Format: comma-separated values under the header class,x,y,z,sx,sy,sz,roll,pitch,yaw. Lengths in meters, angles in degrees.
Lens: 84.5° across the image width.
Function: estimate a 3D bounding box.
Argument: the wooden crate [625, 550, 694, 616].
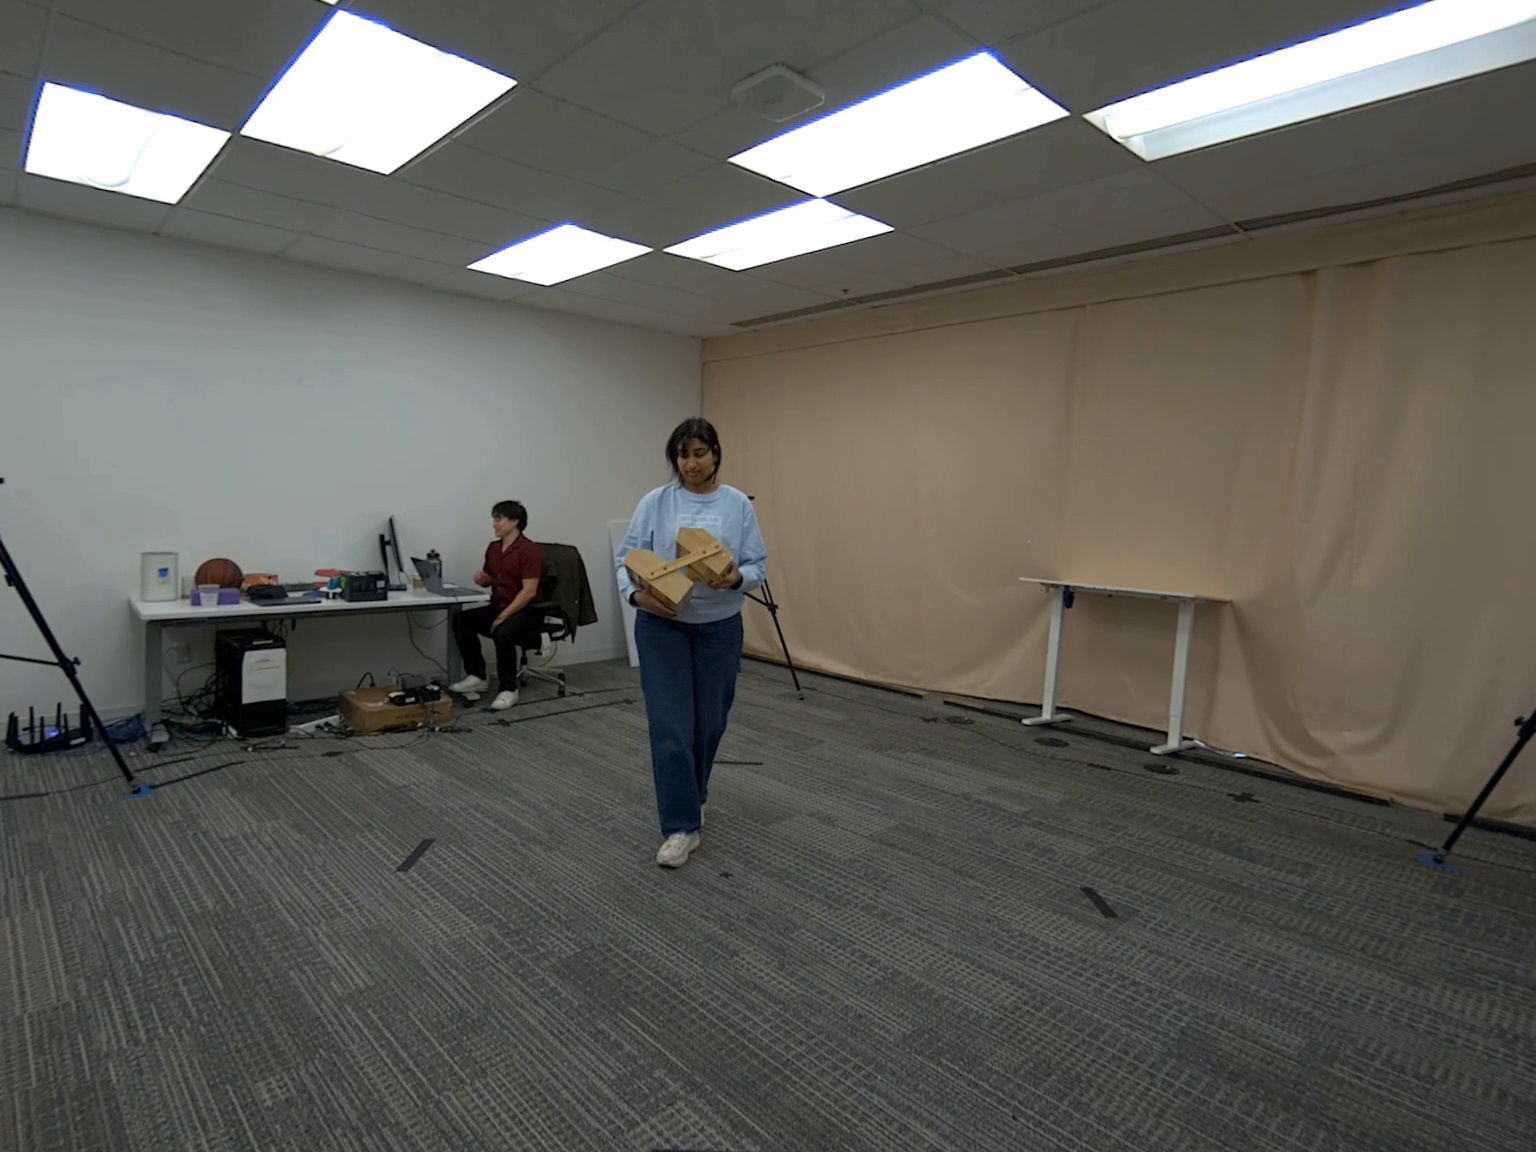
class,x,y,z,sx,sy,sz,roll,pitch,yaw
wooden crate,-0.327,-0.038,3.015,0.304,0.273,0.322,38,-12,6
